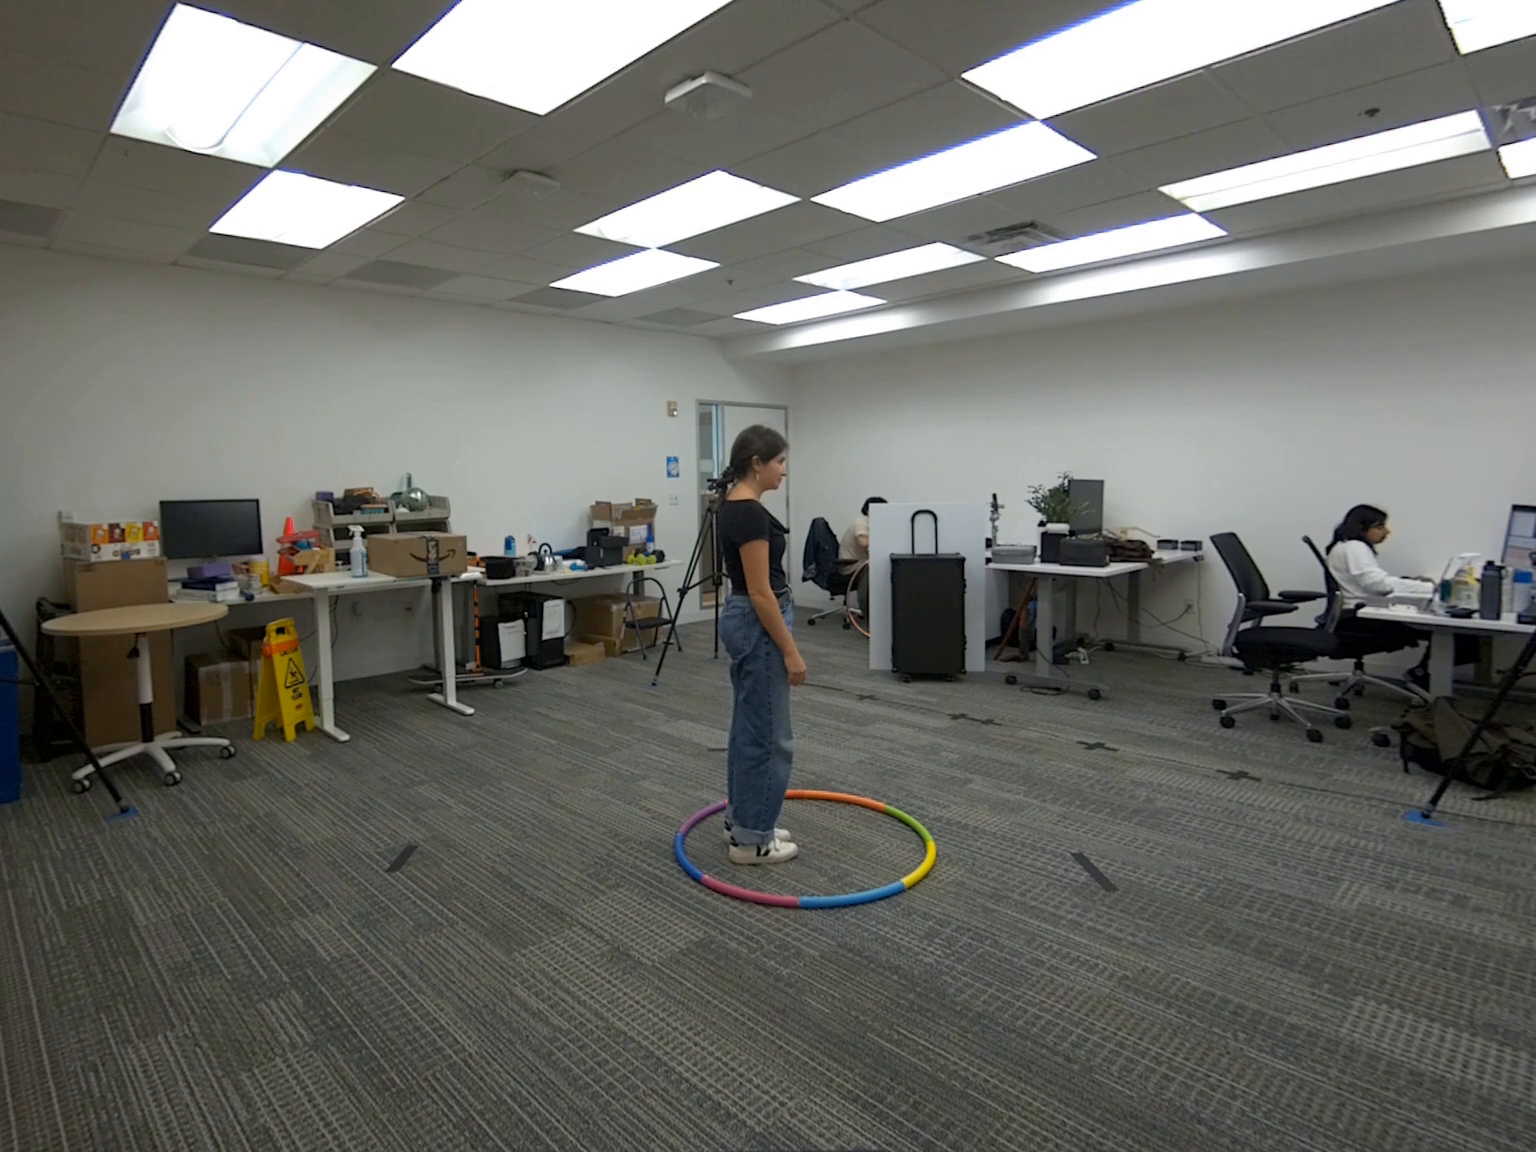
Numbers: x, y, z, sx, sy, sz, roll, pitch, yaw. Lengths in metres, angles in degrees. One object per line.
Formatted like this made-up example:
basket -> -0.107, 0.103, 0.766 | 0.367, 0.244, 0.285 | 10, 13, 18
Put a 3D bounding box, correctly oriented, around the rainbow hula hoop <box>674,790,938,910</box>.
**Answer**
rainbow hula hoop -> 0.131, 0.997, 3.262 | 0.978, 0.035, 0.984 | -1, 6, -2
